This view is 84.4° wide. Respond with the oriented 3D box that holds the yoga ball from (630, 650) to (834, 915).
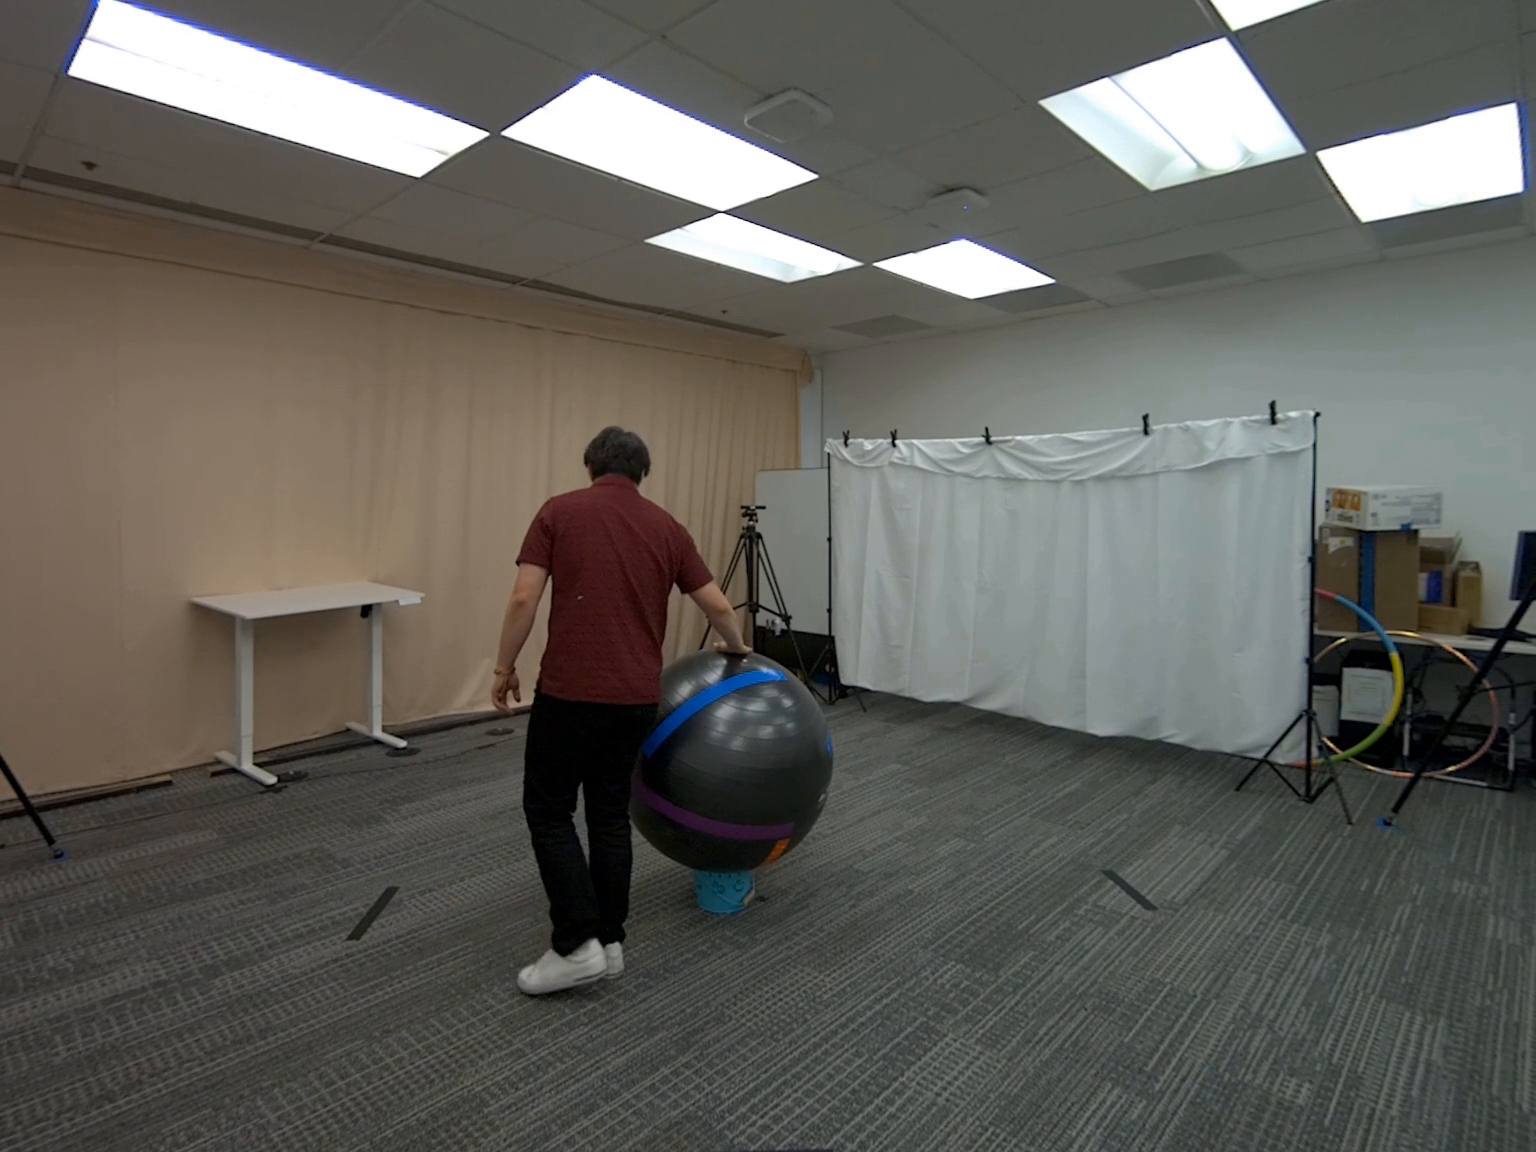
[{"bbox_3d":[-0.139,0.643,2.949,0.757,0.756,0.760,0,4,-2],"label":"yoga ball"}]
